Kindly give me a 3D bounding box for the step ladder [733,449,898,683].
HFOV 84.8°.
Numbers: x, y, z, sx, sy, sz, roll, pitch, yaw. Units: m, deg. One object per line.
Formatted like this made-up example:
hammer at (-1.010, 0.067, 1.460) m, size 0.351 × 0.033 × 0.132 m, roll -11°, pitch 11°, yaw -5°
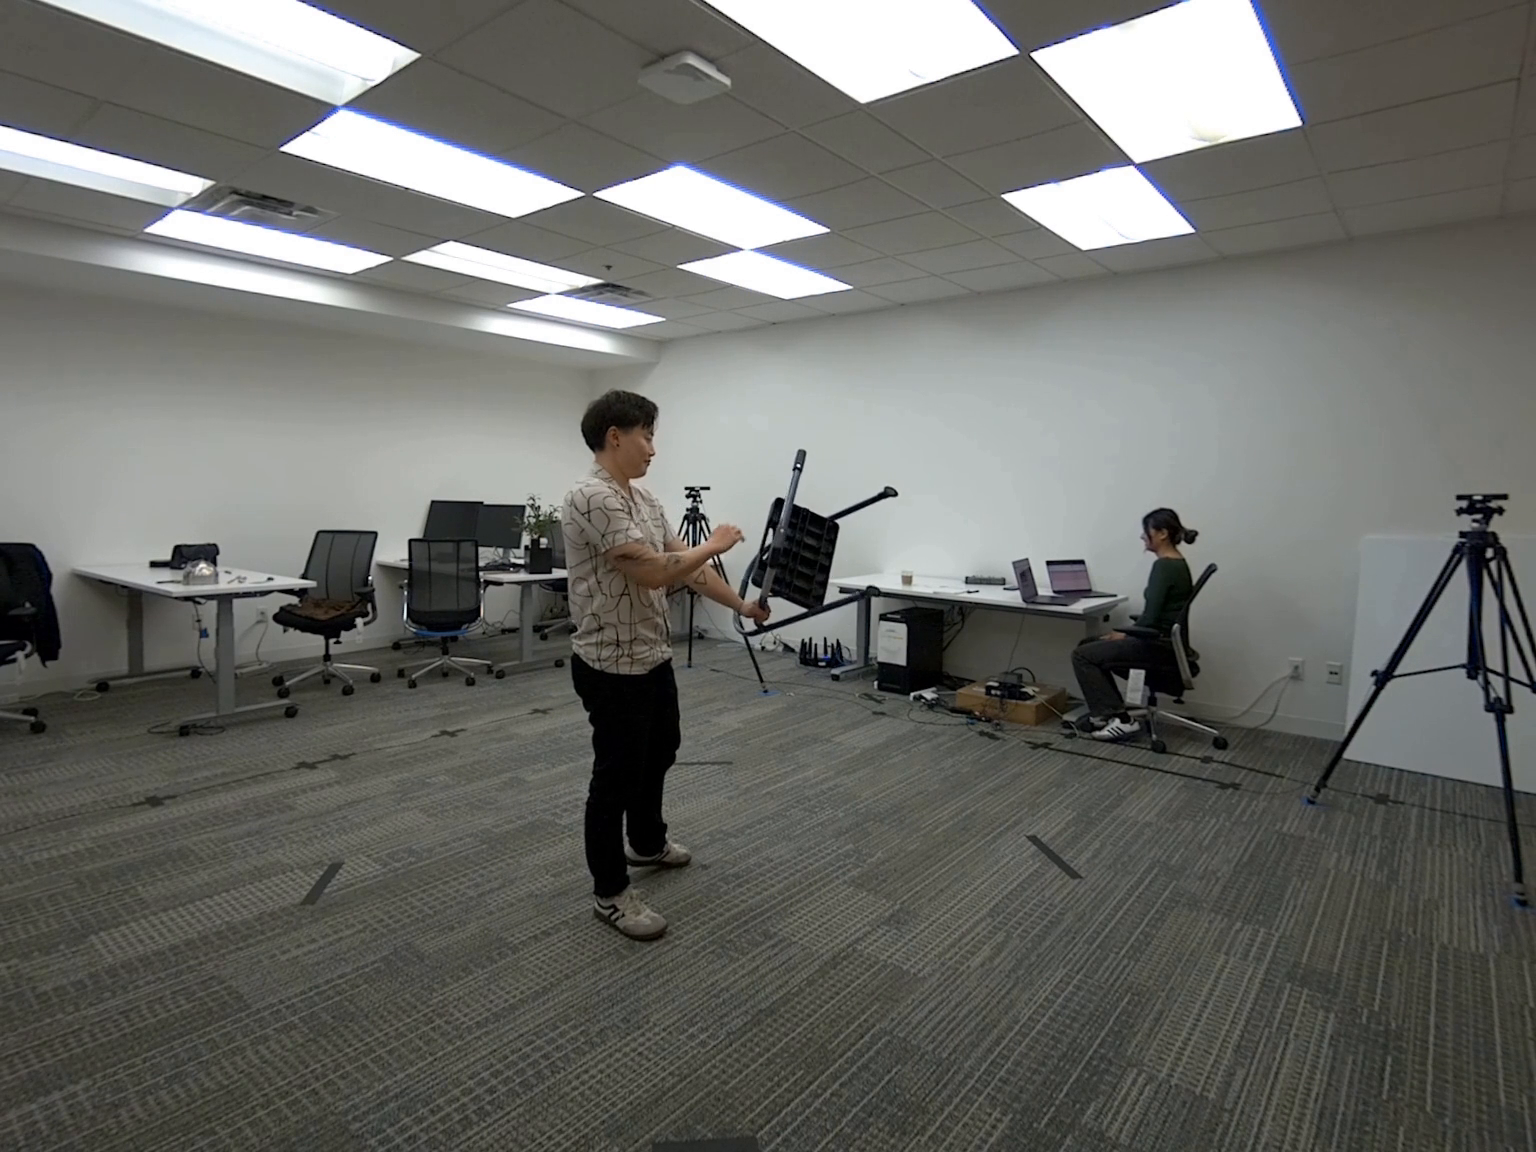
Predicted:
step ladder at (0.090, -0.033, 2.800) m, size 0.344 × 0.438 × 0.604 m, roll 24°, pitch -37°, yaw -11°
